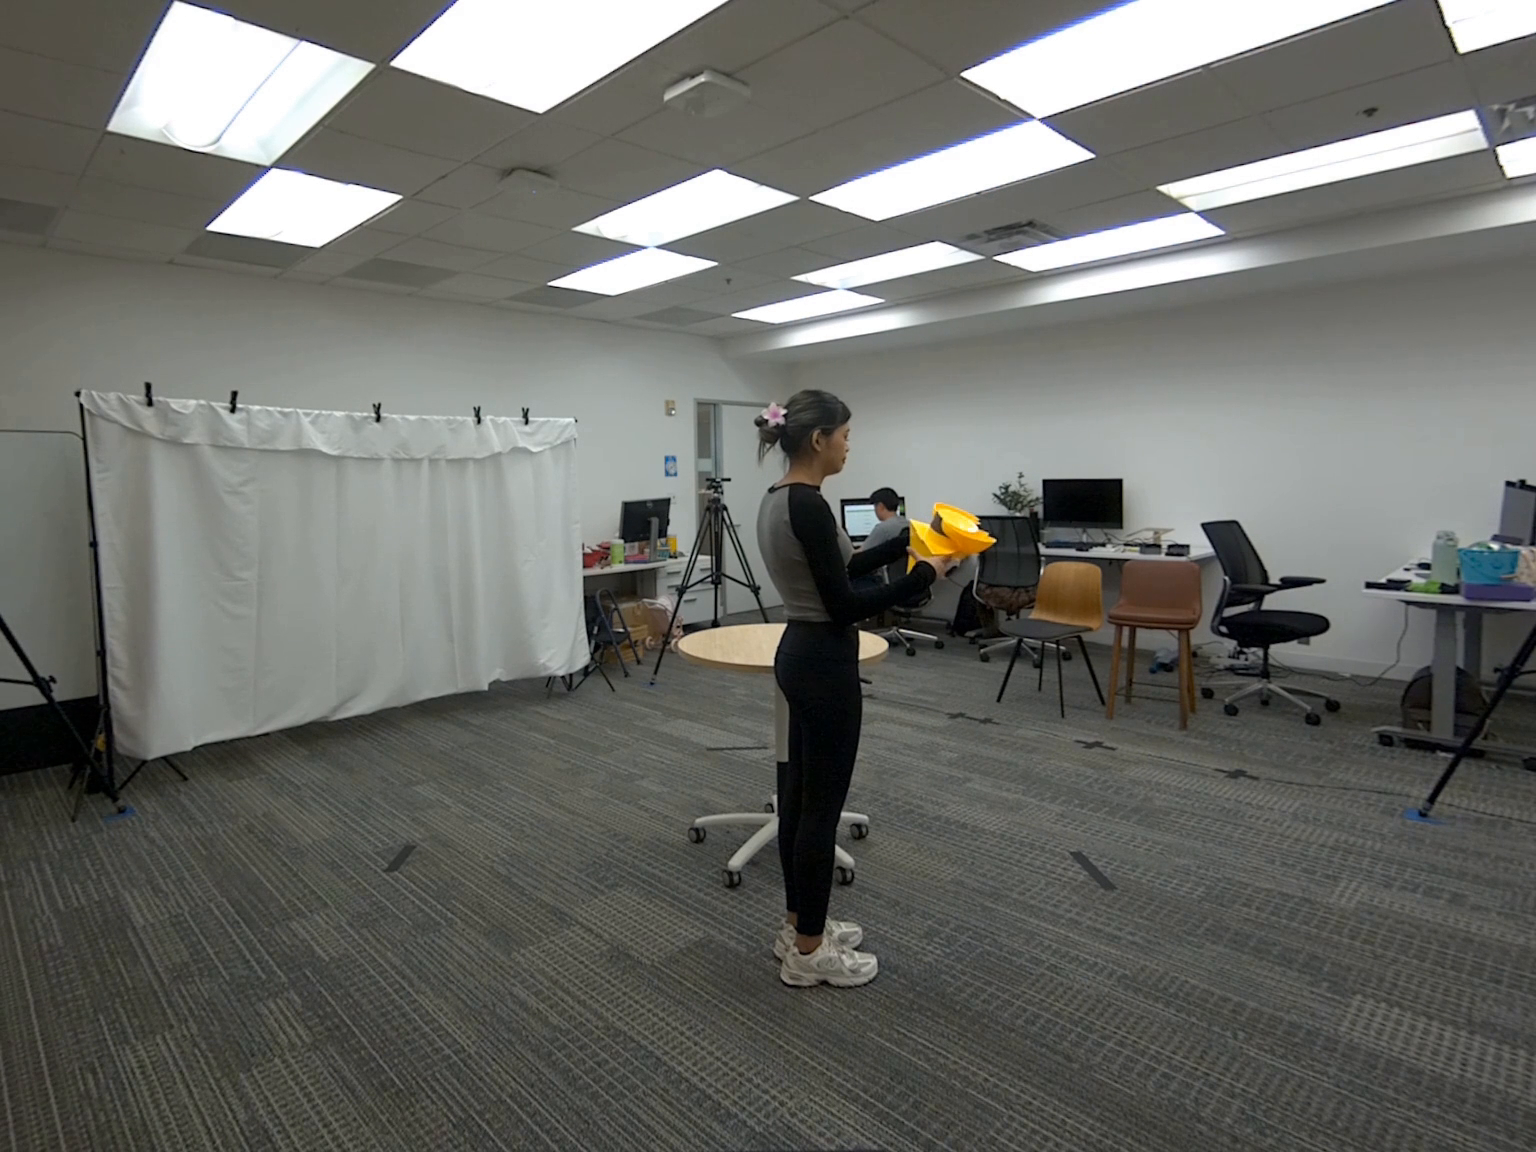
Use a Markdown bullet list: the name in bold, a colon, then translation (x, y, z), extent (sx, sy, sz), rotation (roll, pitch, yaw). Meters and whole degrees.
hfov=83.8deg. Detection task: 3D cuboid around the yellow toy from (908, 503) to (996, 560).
- **yellow toy**: translation (0.513, -0.063, 2.486), extent (0.189, 0.228, 0.211), rotation (15, 26, -19)
